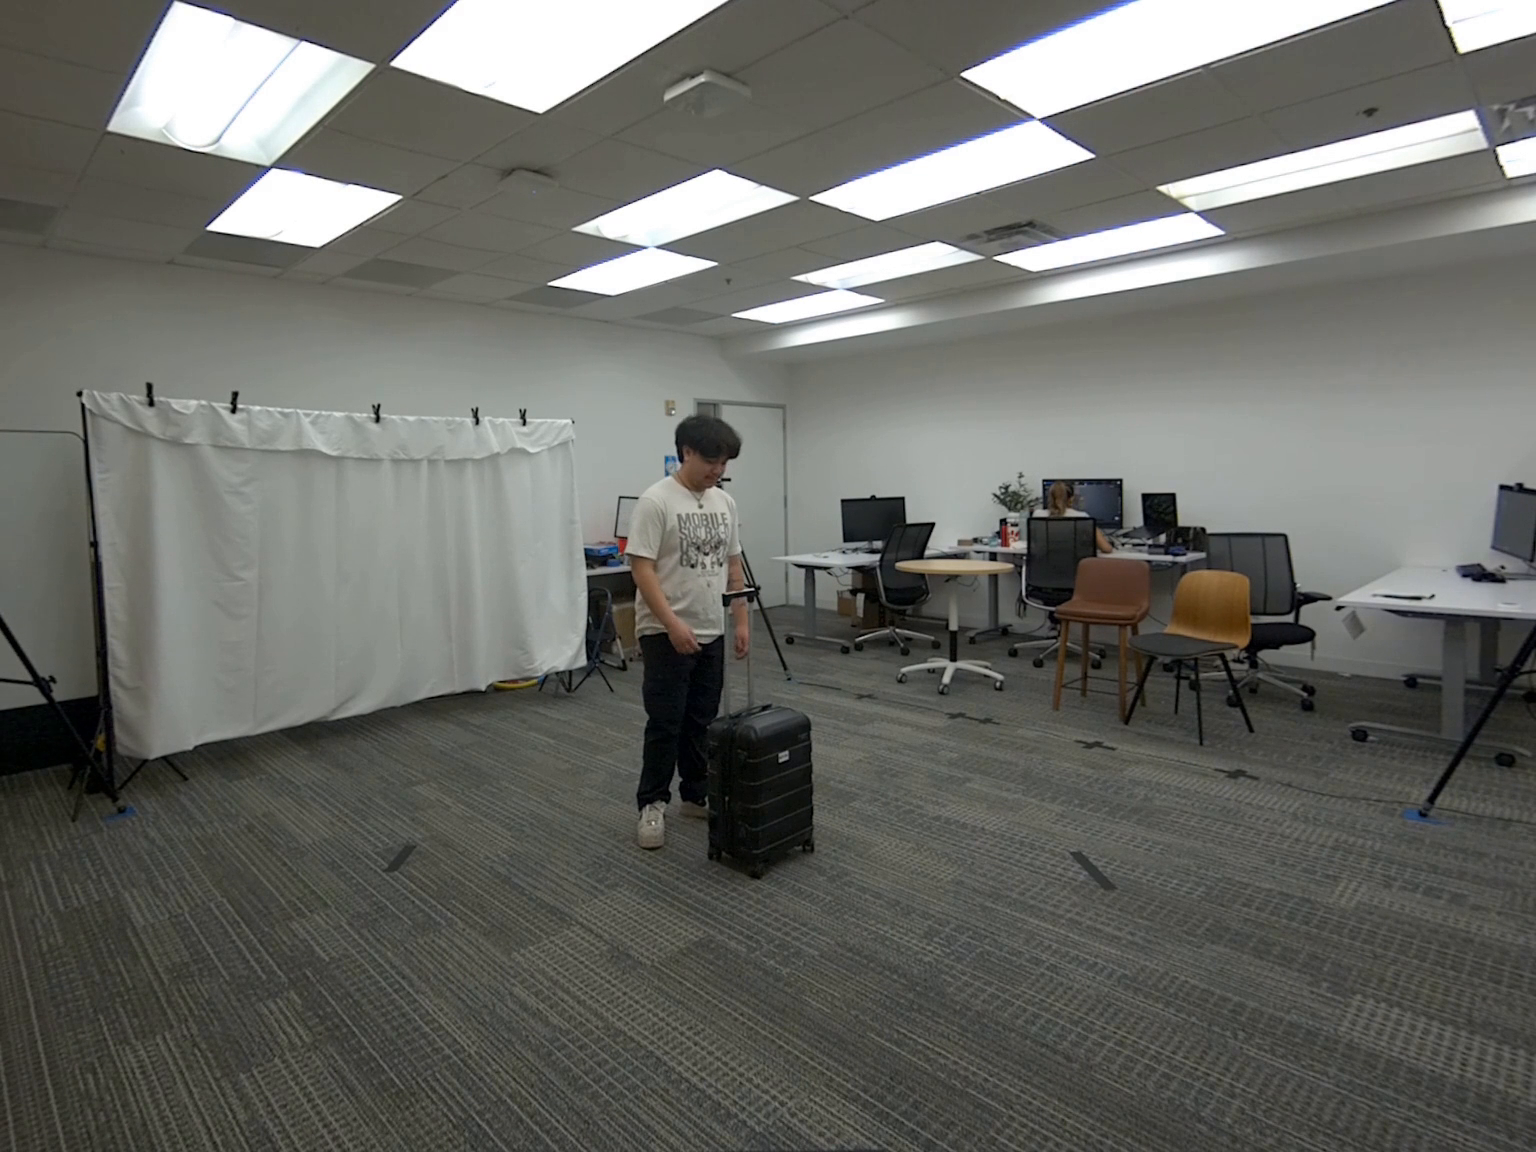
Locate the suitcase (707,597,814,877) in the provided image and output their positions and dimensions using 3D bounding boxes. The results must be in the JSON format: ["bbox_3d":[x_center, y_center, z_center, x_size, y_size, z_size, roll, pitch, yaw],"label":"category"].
[{"bbox_3d":[-0.018,0.563,3.112,0.265,0.973,0.374,7,9,44],"label":"suitcase"}]
